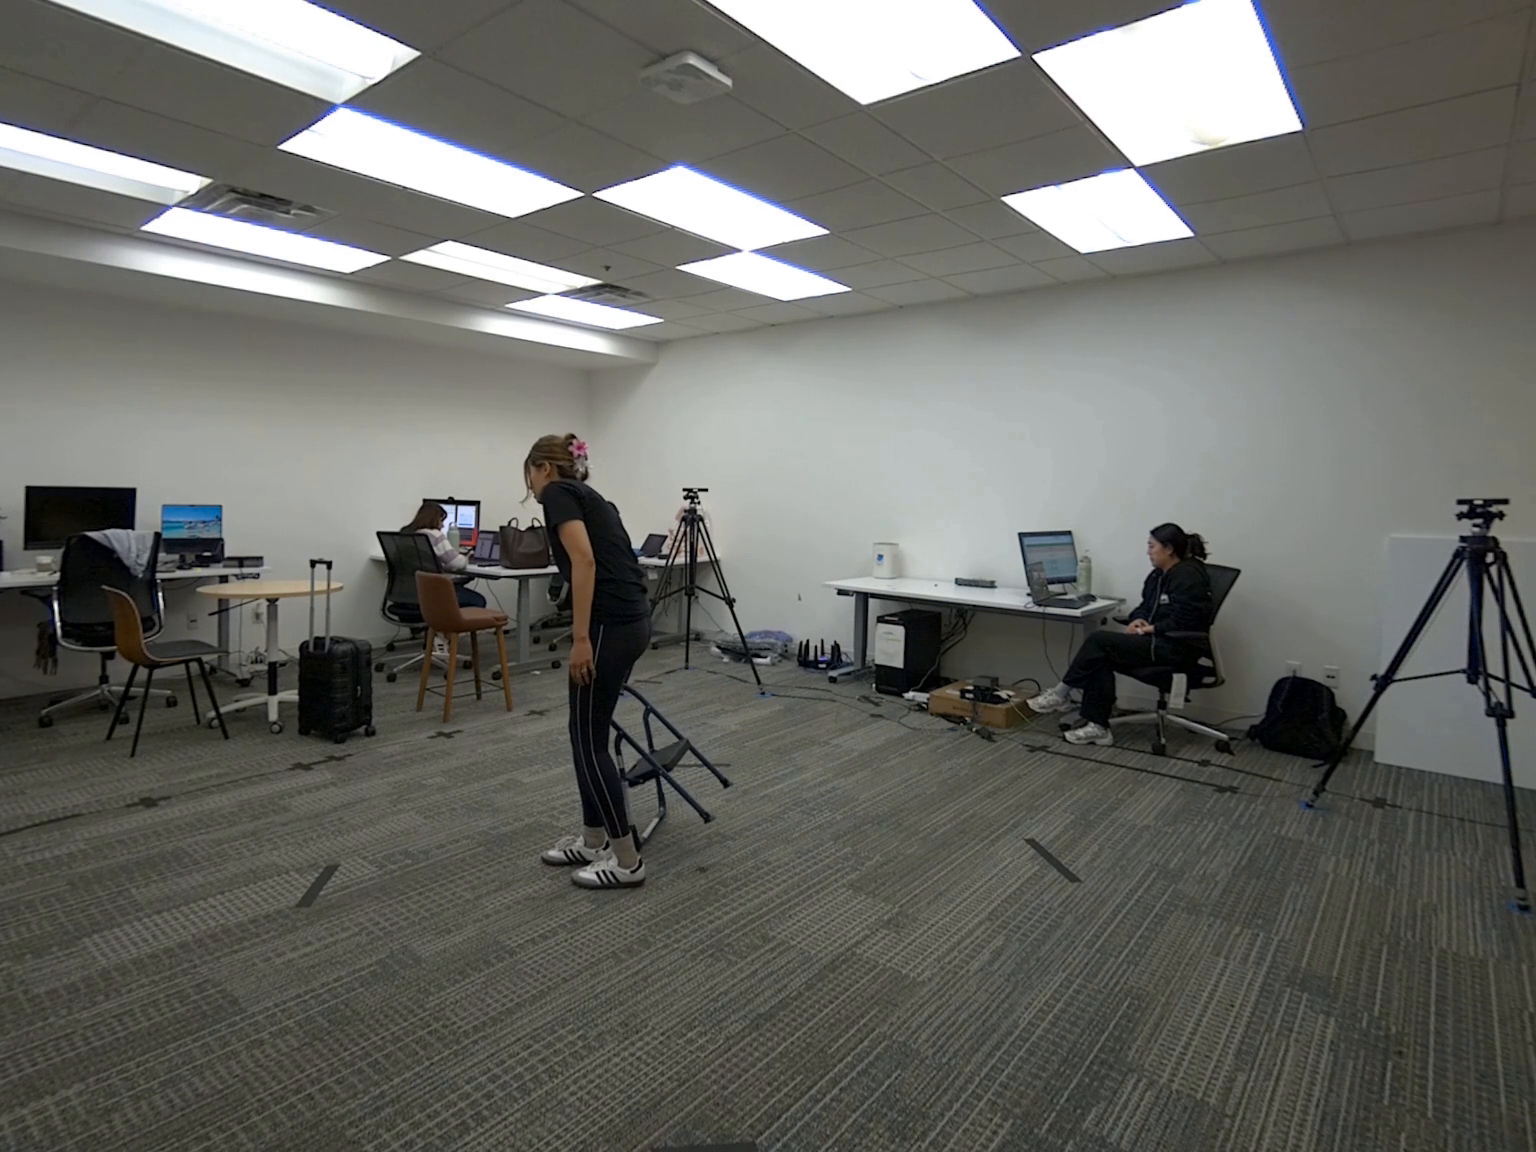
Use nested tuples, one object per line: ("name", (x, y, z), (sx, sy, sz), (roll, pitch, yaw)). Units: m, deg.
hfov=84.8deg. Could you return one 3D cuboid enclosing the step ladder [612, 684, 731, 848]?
("step ladder", (-0.470, 0.694, 3.432), (0.351, 0.608, 0.427), (-26, -2, 8))
